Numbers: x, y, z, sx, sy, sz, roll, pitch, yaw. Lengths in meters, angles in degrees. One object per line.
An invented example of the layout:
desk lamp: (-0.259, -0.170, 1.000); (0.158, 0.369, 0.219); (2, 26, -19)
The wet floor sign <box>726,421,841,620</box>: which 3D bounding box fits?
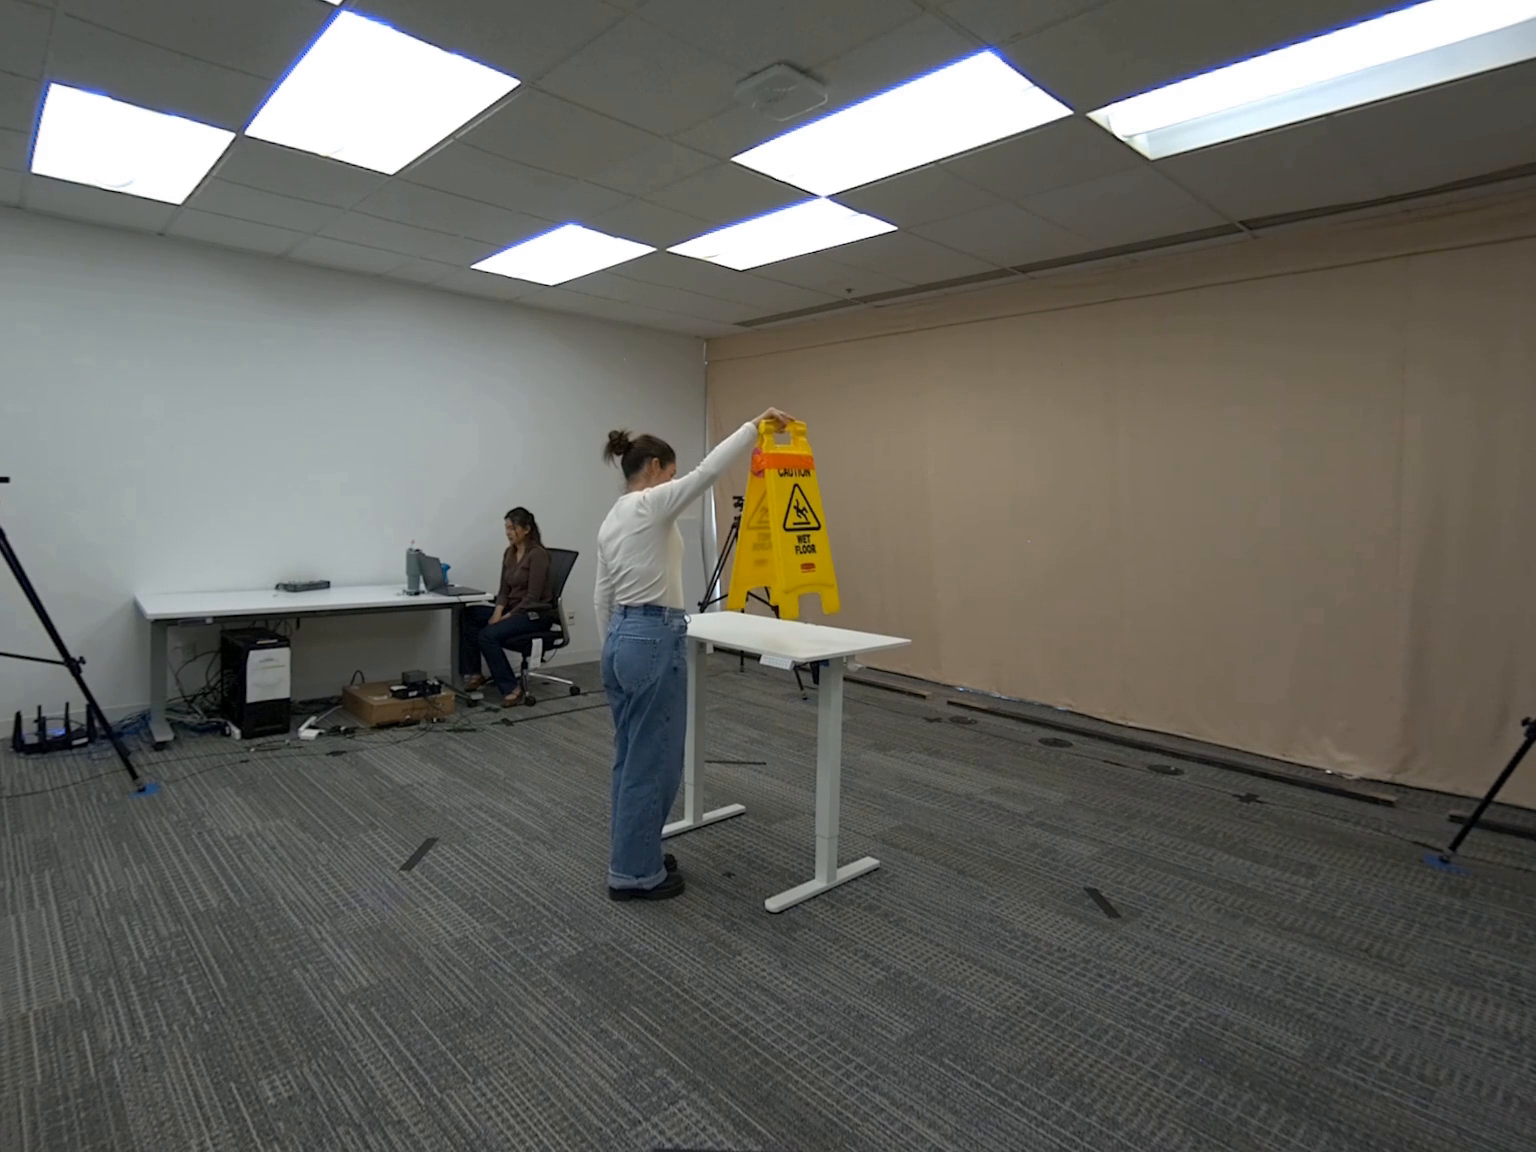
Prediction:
wet floor sign: (0.046, -0.200, 2.839); (0.276, 0.644, 0.297); (-5, 6, -42)
